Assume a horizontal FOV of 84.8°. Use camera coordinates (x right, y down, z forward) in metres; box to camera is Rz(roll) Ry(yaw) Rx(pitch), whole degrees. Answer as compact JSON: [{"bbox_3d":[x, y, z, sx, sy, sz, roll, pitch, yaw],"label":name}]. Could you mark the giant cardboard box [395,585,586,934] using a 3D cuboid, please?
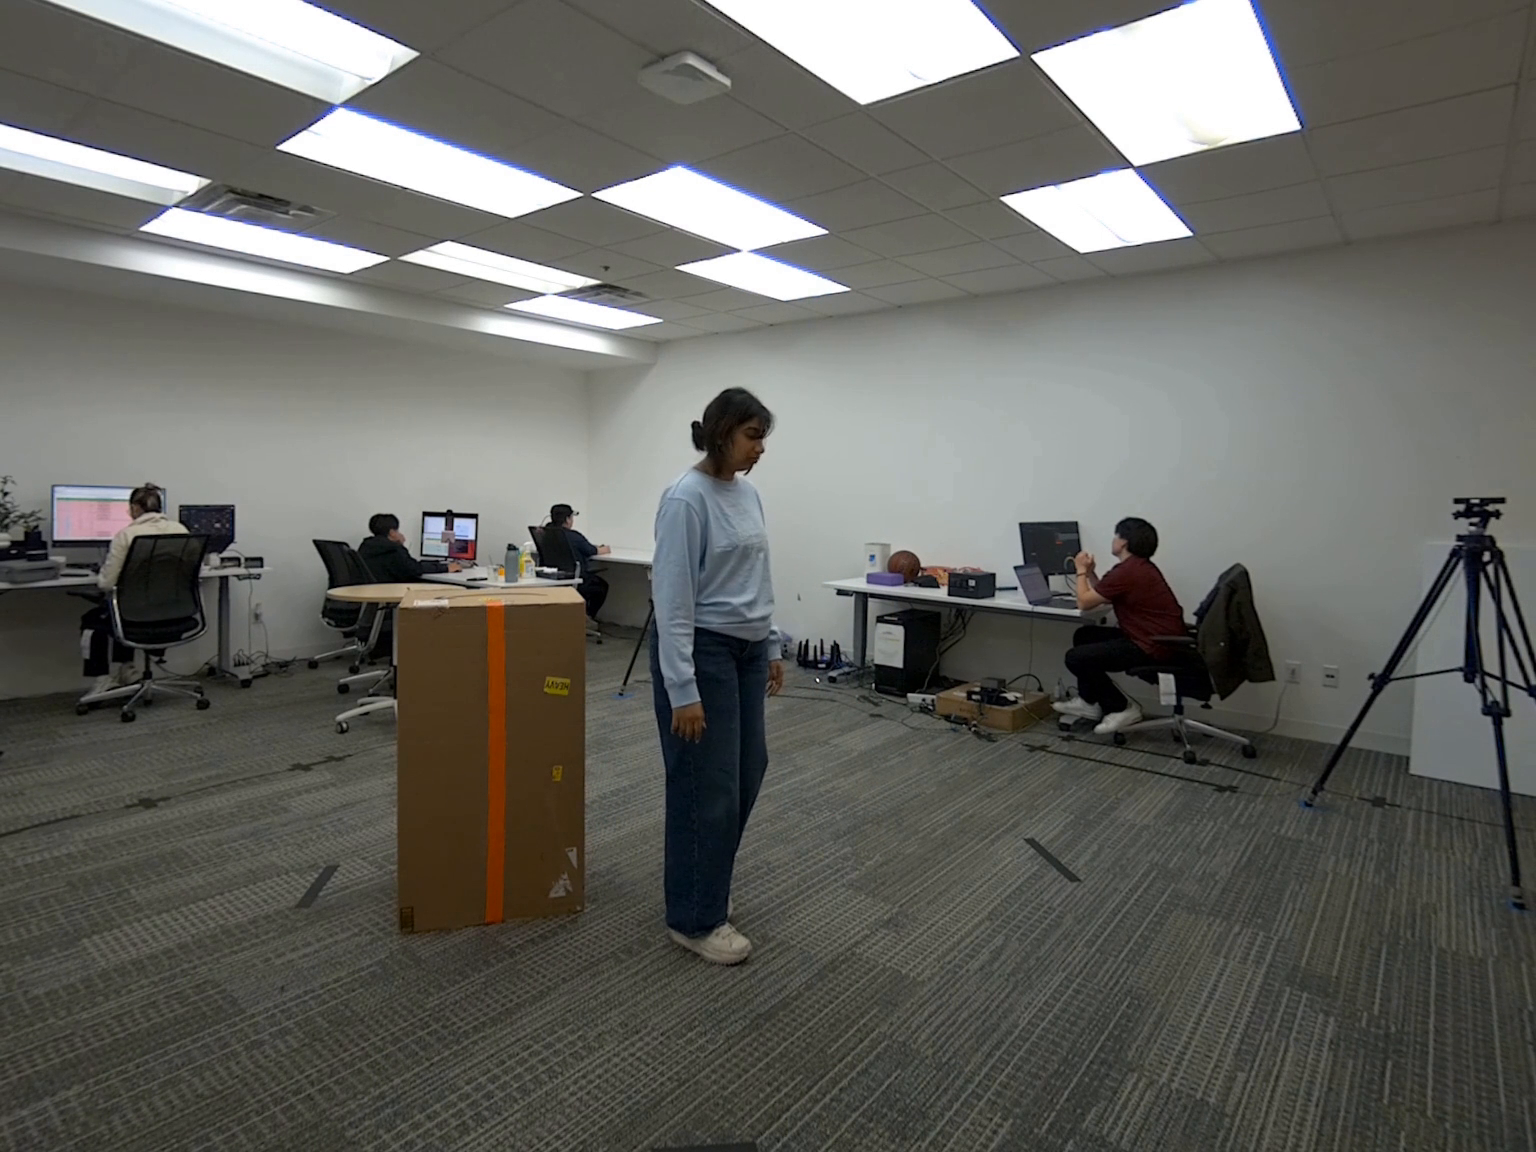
[{"bbox_3d":[-0.944,0.572,2.874,0.574,1.024,0.456,0,4,-17],"label":"giant cardboard box"}]
